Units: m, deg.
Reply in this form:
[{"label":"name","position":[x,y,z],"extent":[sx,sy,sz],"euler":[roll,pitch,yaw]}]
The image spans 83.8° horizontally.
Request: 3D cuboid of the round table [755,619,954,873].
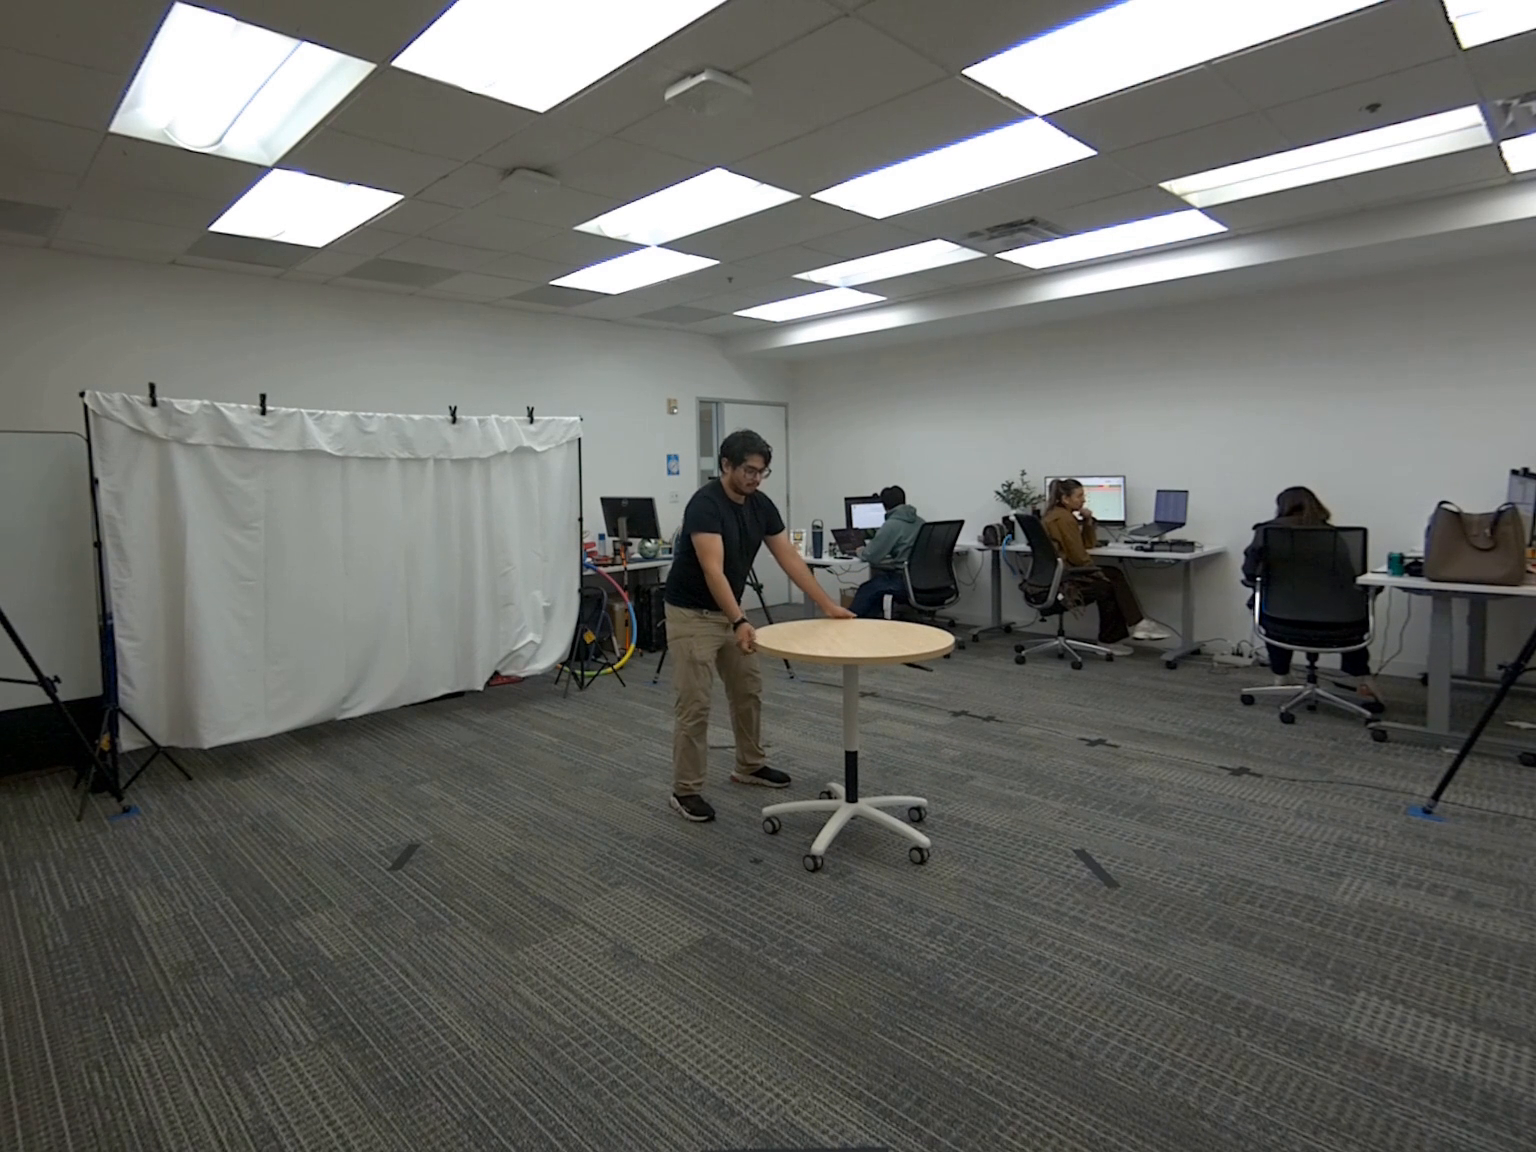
[{"label":"round table","position":[0.304,0.615,3.276],"extent":[0.784,0.783,0.790],"euler":[-1,6,-2]}]
